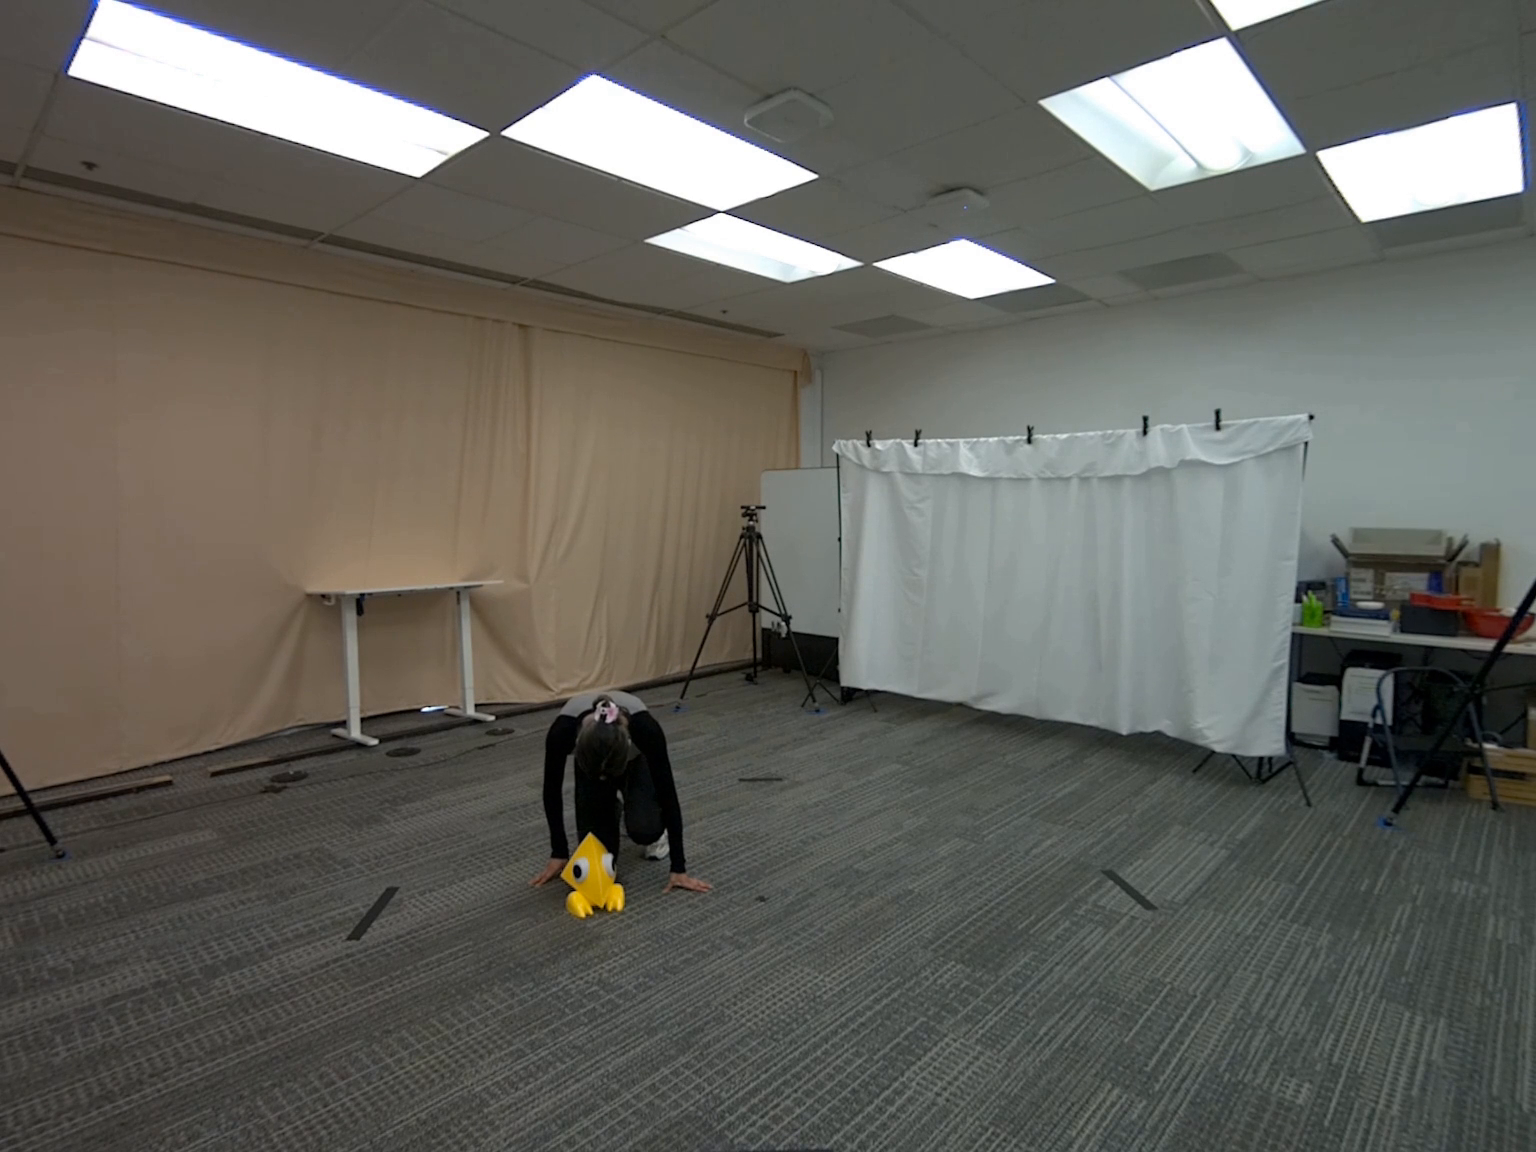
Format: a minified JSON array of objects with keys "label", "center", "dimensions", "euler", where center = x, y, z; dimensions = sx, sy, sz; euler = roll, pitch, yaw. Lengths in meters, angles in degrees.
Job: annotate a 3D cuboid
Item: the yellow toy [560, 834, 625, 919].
[{"label":"yellow toy","center":[-0.608,1.038,2.957],"dimensions":[0.200,0.230,0.198],"euler":[-2,3,-24]}]
